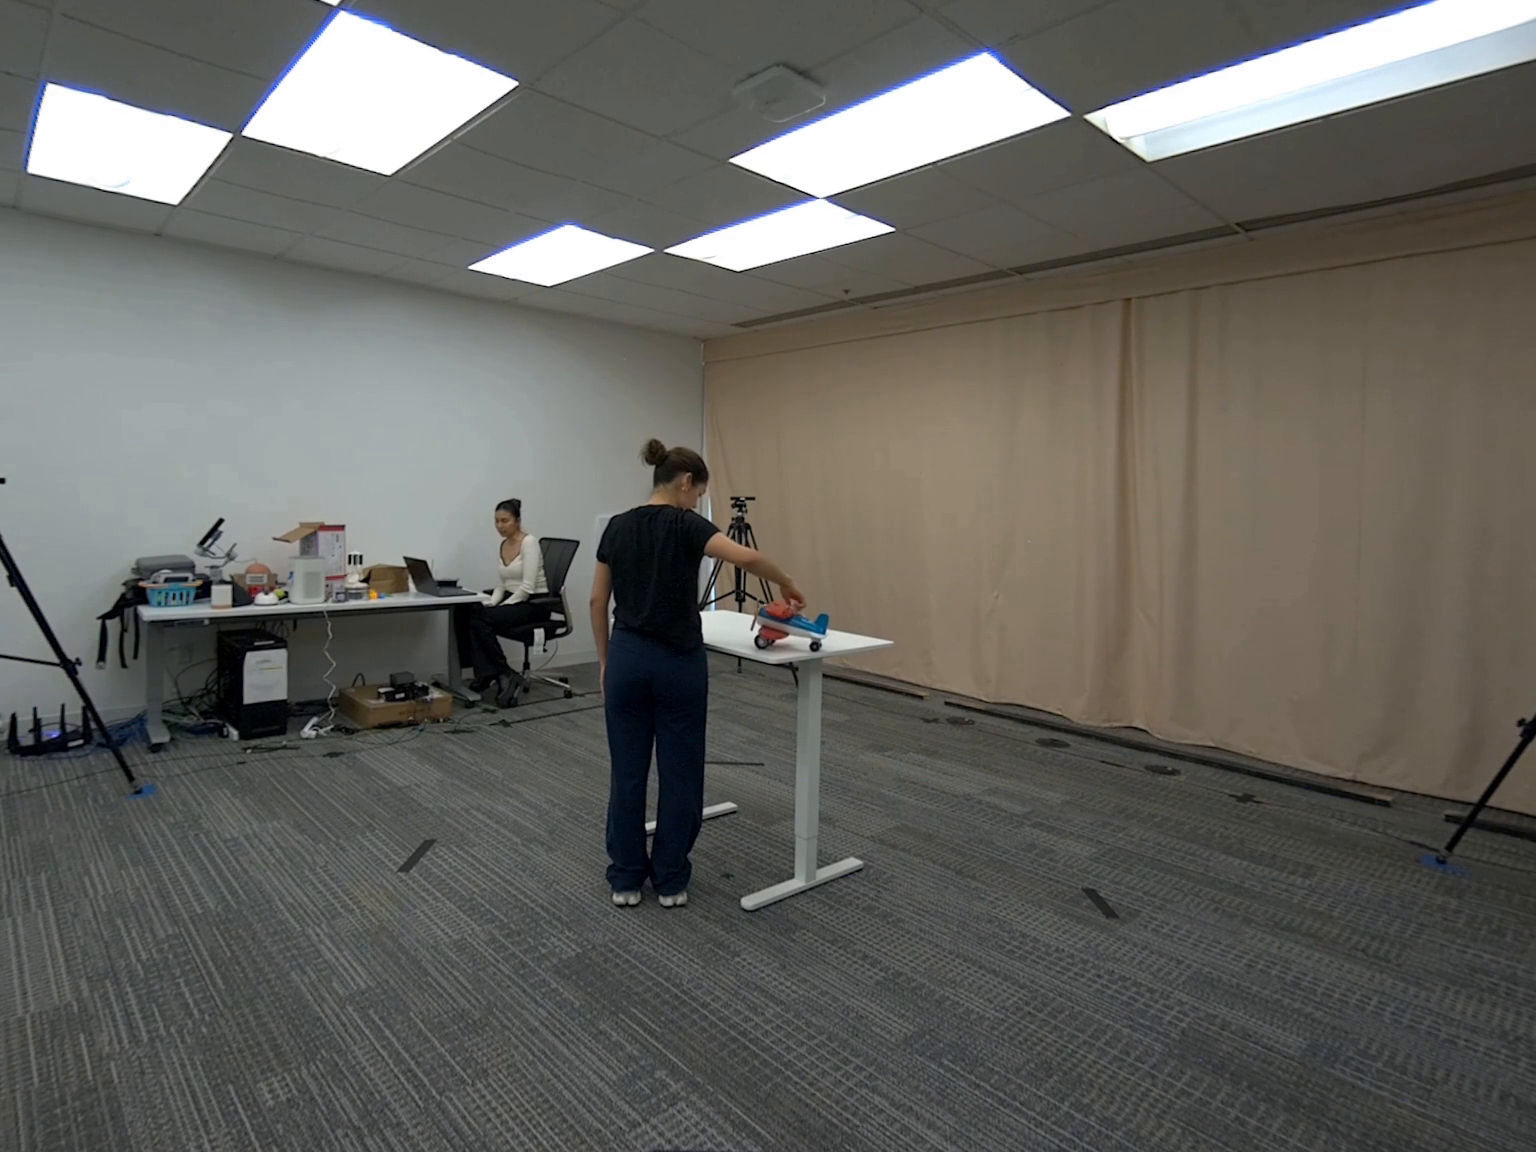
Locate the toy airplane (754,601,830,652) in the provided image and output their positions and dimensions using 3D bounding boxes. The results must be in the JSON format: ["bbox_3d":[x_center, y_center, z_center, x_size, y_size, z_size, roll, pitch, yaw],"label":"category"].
[{"bbox_3d":[0.065,0.172,2.886,0.256,0.156,0.255,0,5,-15],"label":"toy airplane"}]
